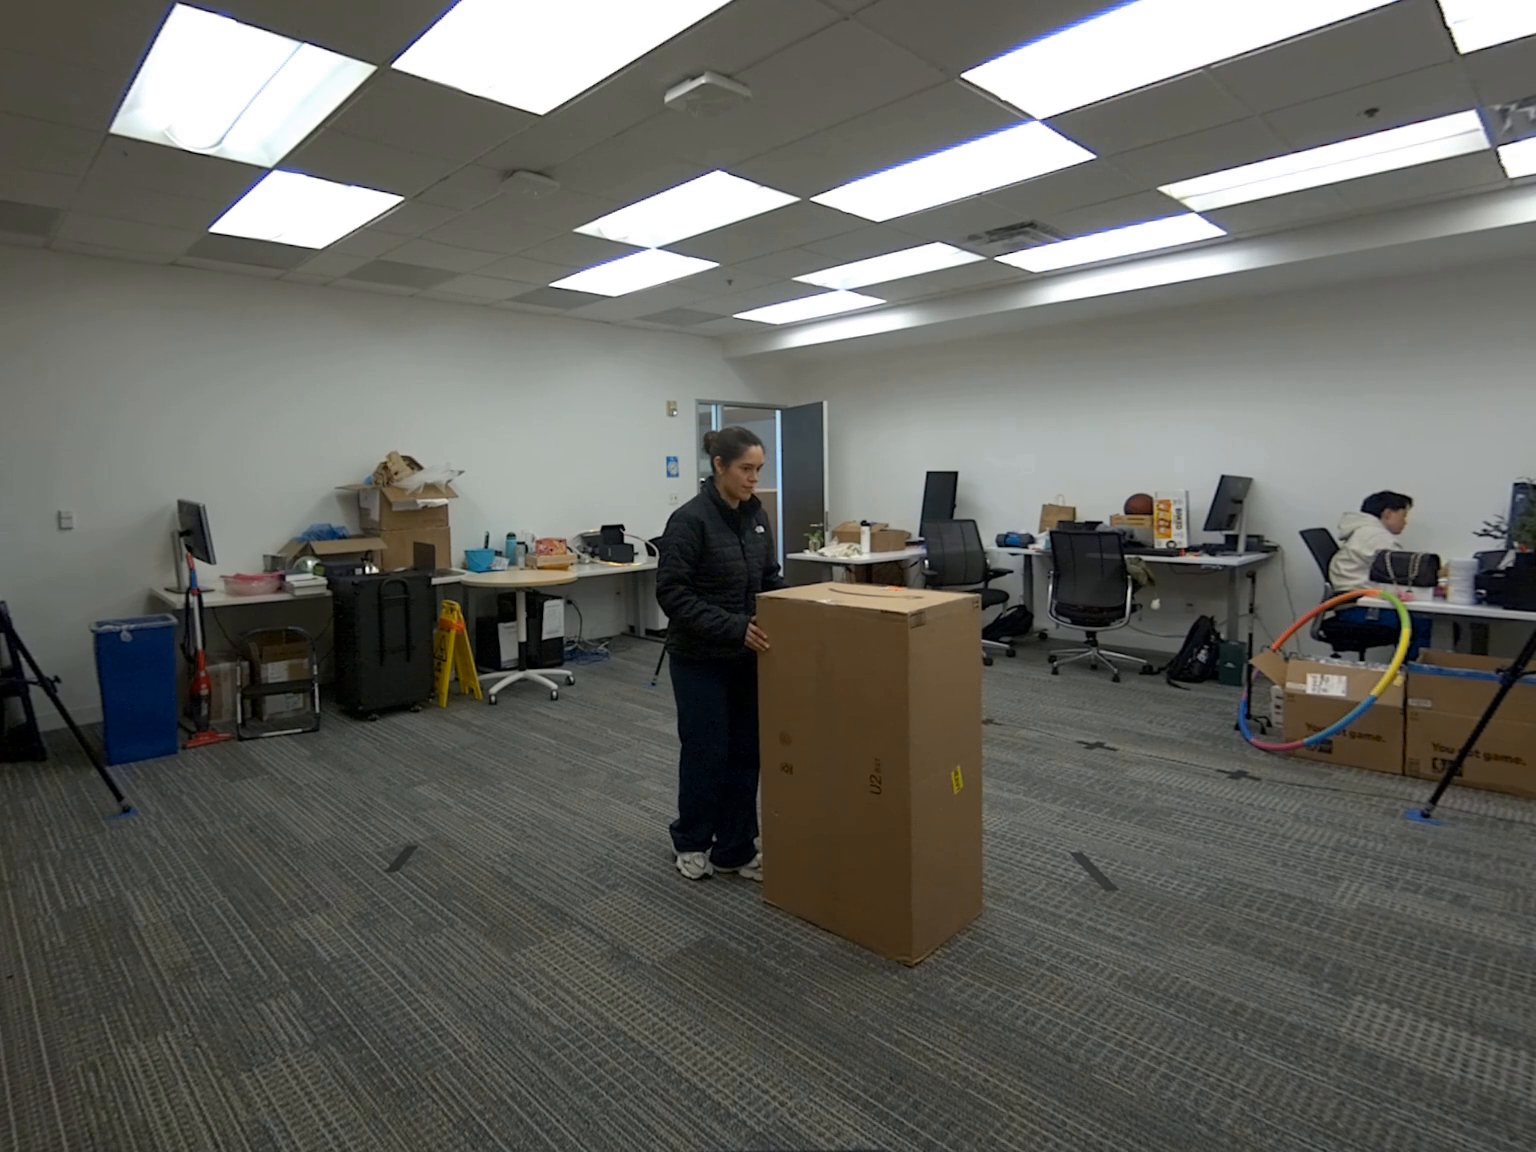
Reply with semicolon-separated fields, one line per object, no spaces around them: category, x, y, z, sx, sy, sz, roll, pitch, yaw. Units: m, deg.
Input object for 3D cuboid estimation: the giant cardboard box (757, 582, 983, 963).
giant cardboard box;0.330;0.573;2.745;0.595;1.022;0.415;3;6;43
